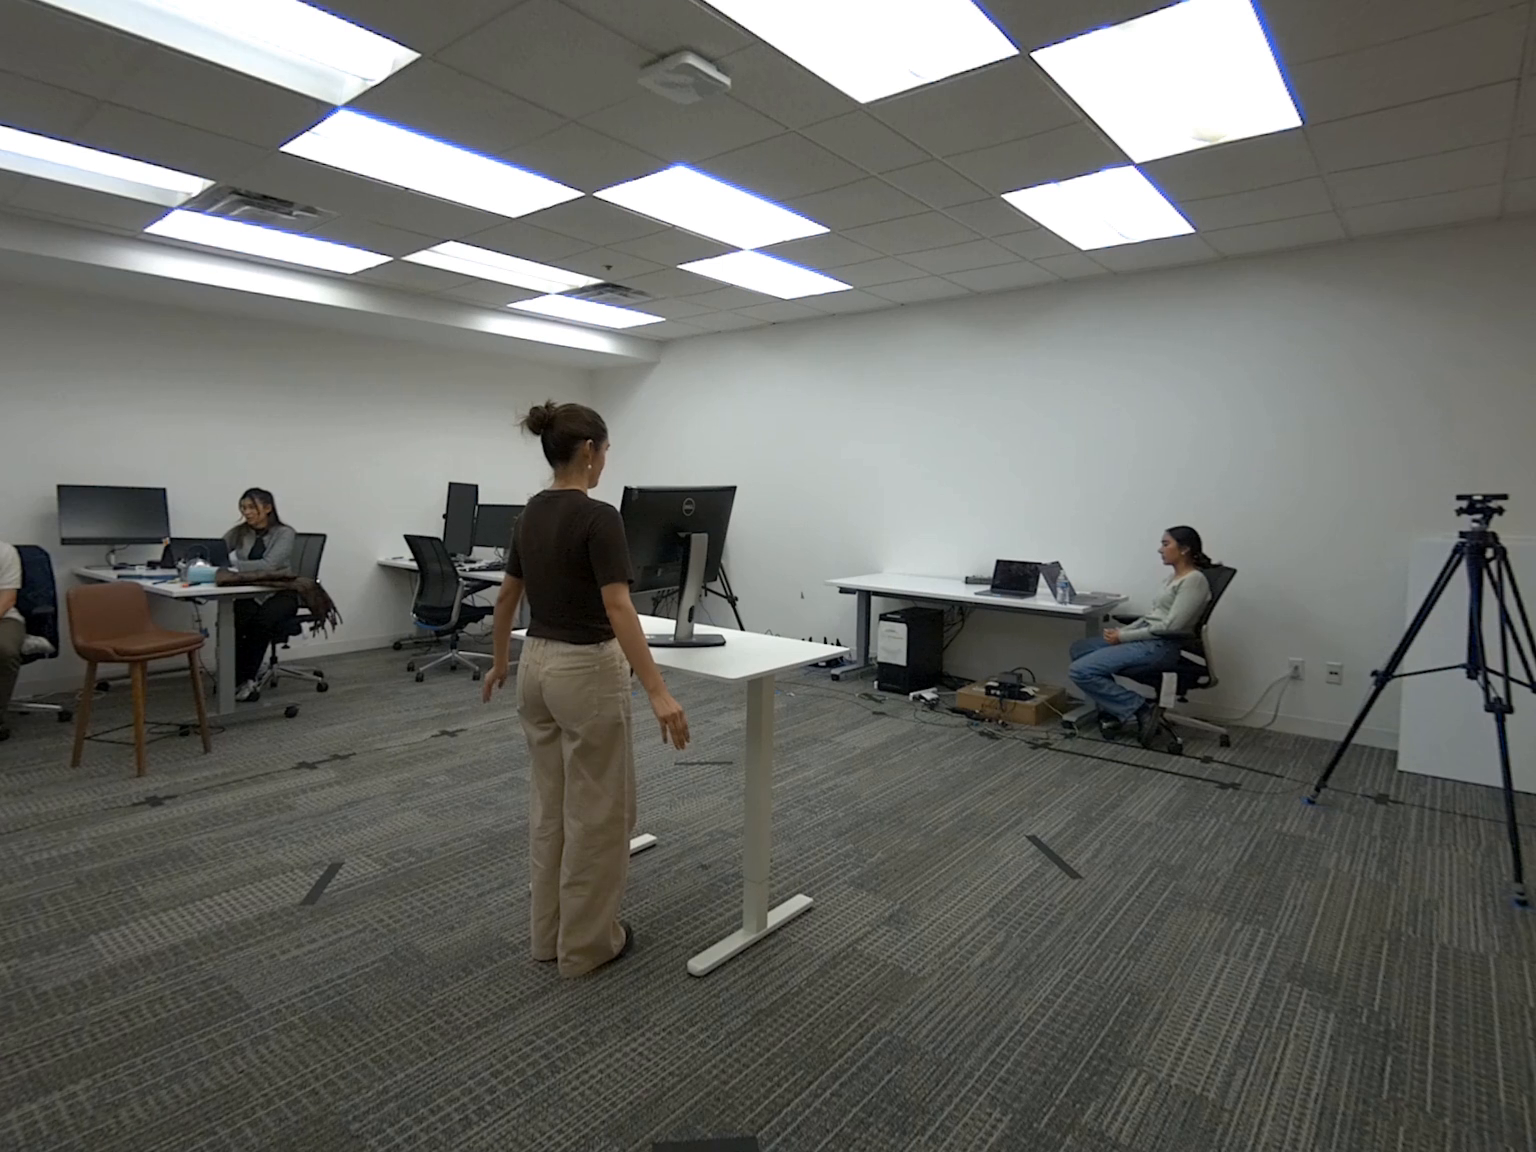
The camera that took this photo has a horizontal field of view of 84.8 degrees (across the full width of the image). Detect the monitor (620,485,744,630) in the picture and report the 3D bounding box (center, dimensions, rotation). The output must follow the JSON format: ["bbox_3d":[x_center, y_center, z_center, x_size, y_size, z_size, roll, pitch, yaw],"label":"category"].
[{"bbox_3d":[-0.296,-0.034,2.747,0.193,0.520,0.525,2,6,33],"label":"monitor"}]
